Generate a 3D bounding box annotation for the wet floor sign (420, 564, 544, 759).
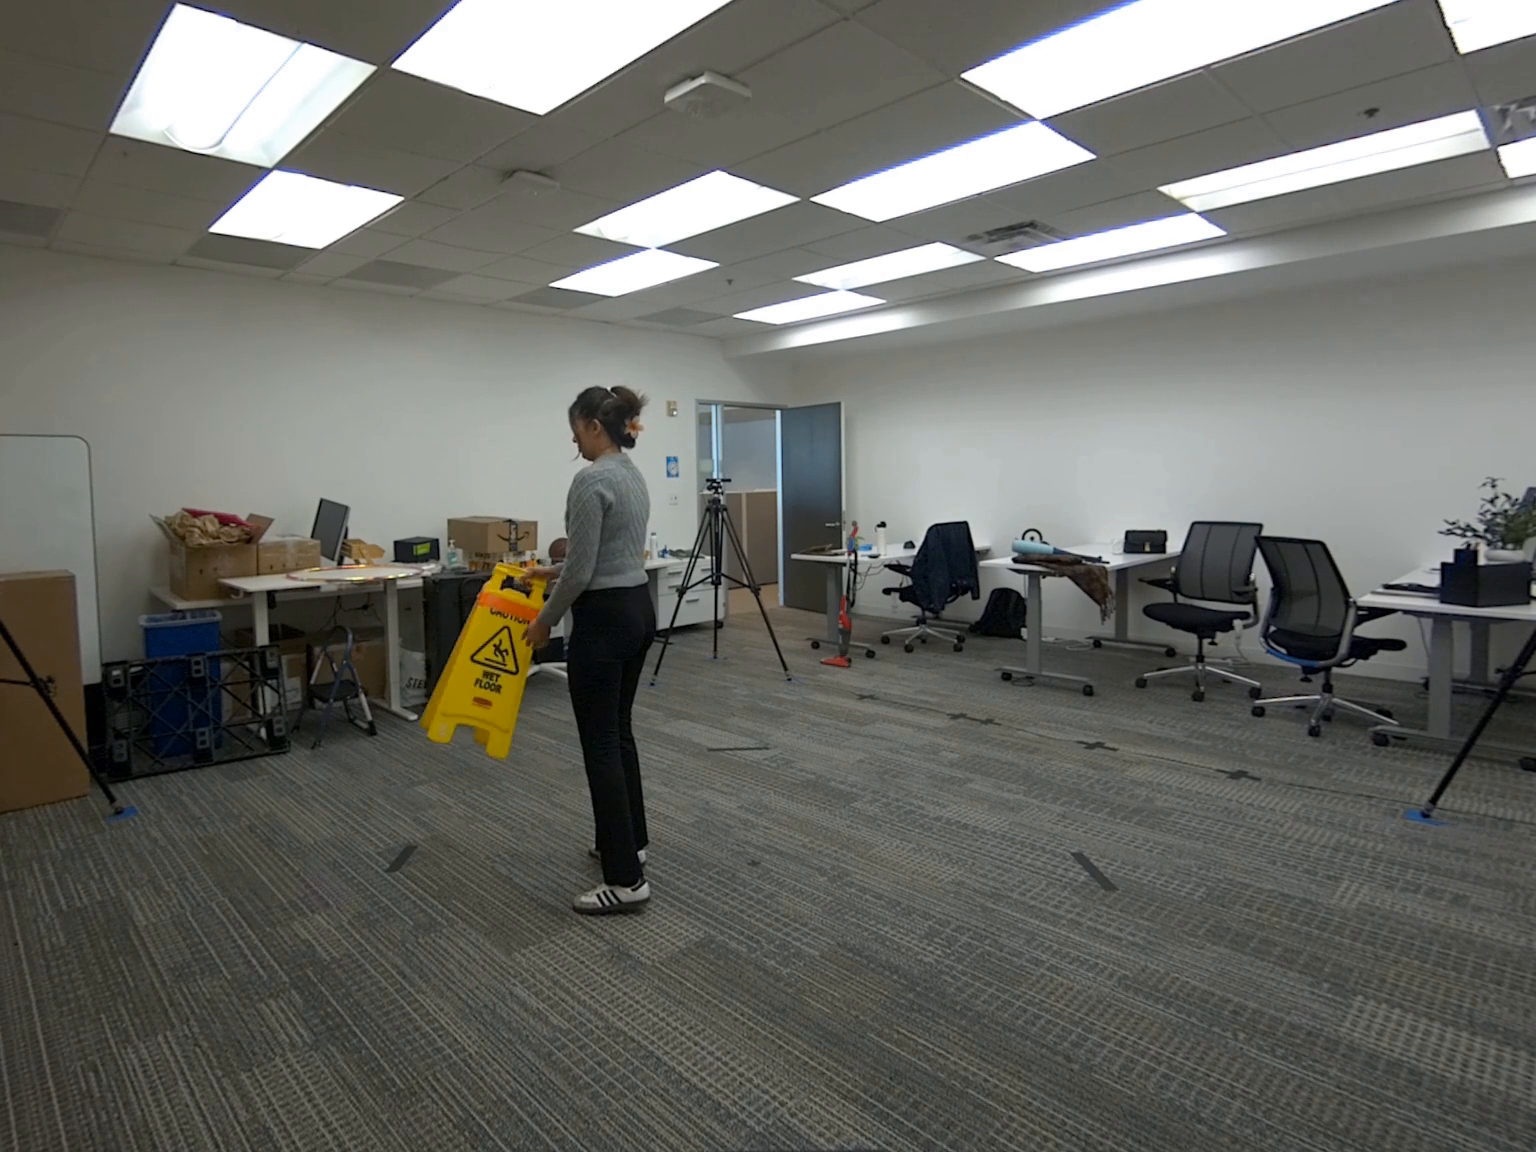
[{"bbox_3d":[-0.991,0.281,3.082,0.275,0.651,0.295,22,-13,-24],"label":"wet floor sign"}]
